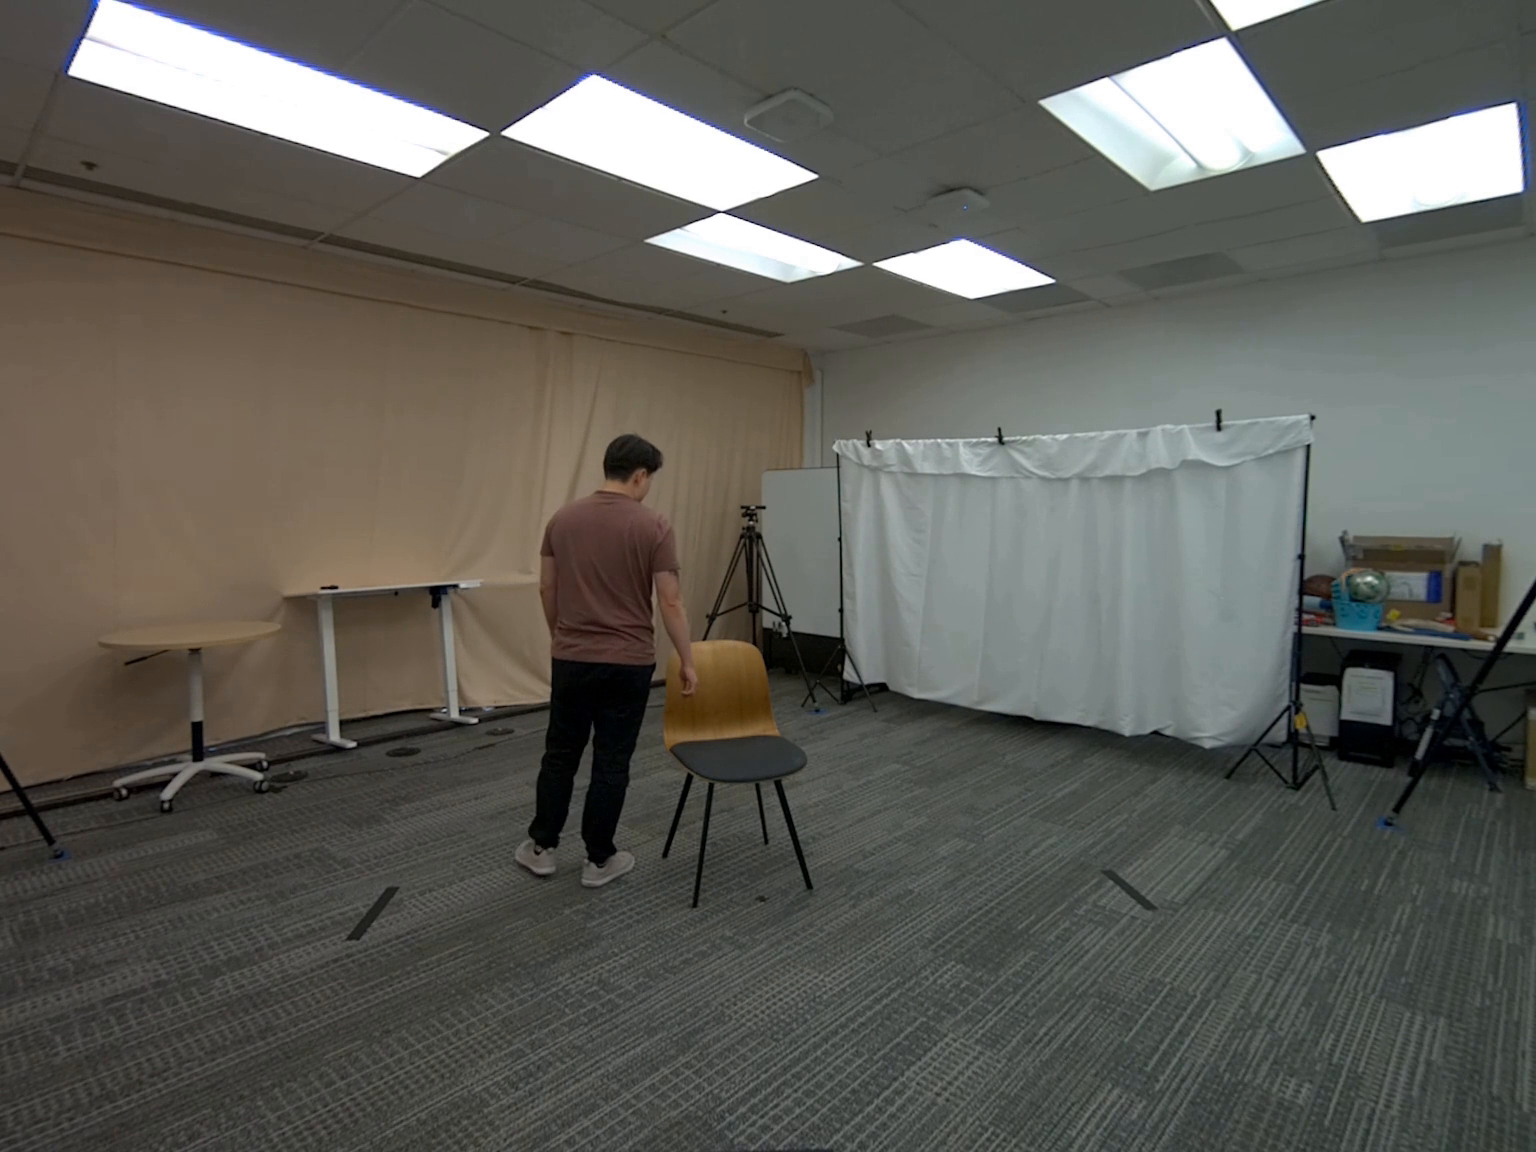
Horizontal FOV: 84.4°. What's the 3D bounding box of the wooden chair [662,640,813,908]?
[{"bbox_3d":[-0.125,0.704,3.157,0.469,0.878,0.533,-1,0,-19],"label":"wooden chair"}]
